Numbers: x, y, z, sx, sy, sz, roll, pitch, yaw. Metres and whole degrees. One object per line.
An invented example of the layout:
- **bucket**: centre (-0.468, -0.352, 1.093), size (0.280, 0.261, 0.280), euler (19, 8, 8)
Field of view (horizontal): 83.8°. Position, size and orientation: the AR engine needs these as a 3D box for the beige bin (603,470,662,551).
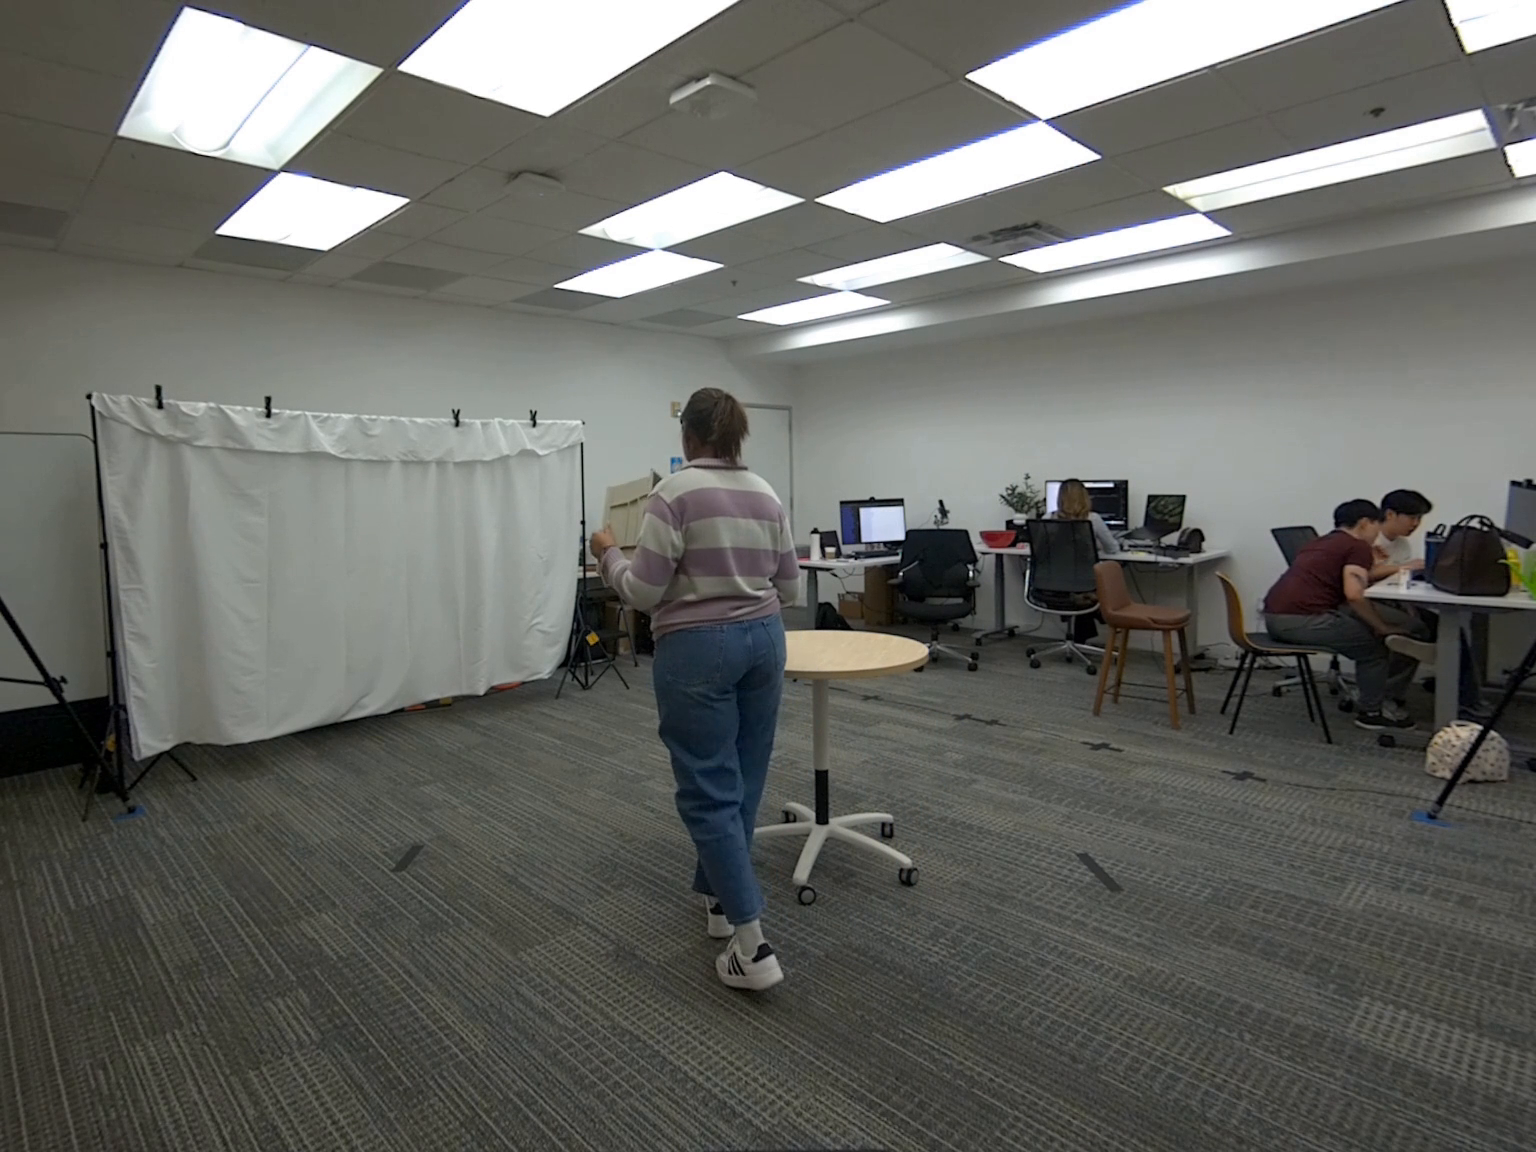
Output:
- **beige bin**: centre (-0.341, -0.066, 2.774), size (0.192, 0.385, 0.406), euler (-12, -29, 25)
